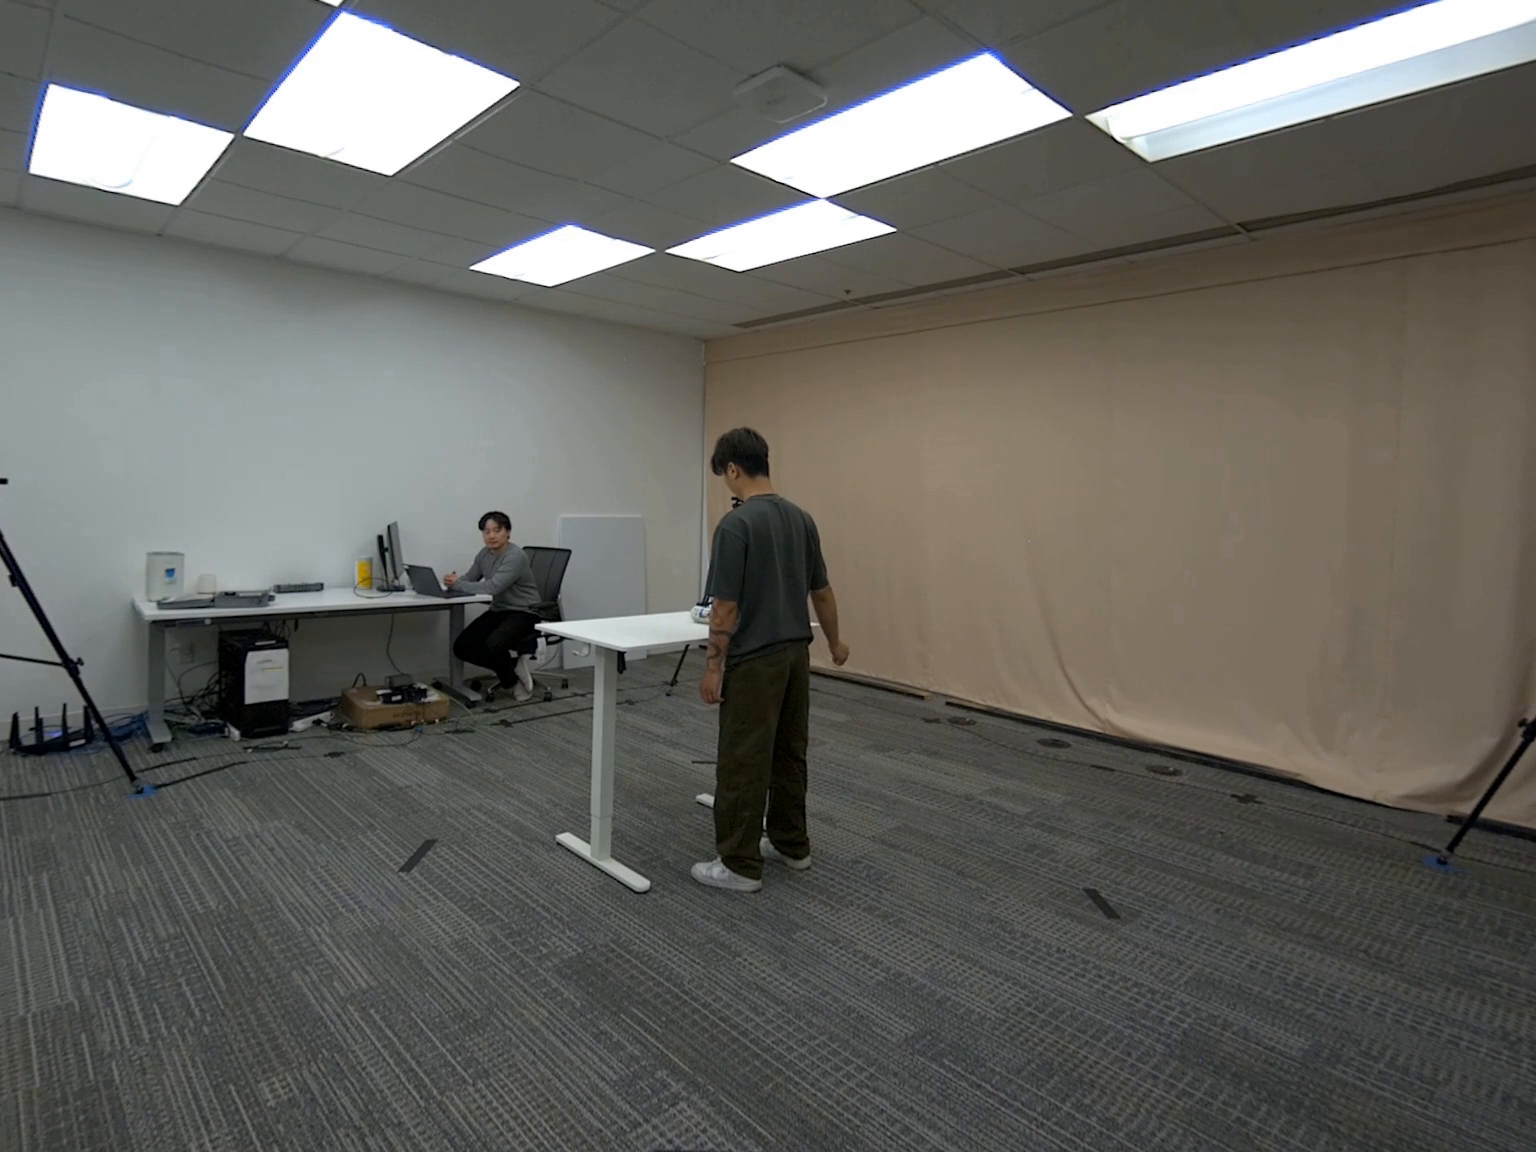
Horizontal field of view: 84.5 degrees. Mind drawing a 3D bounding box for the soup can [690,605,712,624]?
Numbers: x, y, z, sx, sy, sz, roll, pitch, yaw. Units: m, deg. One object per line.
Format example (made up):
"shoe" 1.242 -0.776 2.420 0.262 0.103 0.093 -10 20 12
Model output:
"soup can" -0.263 0.159 3.440 0.125 0.067 0.065 9 8 38
